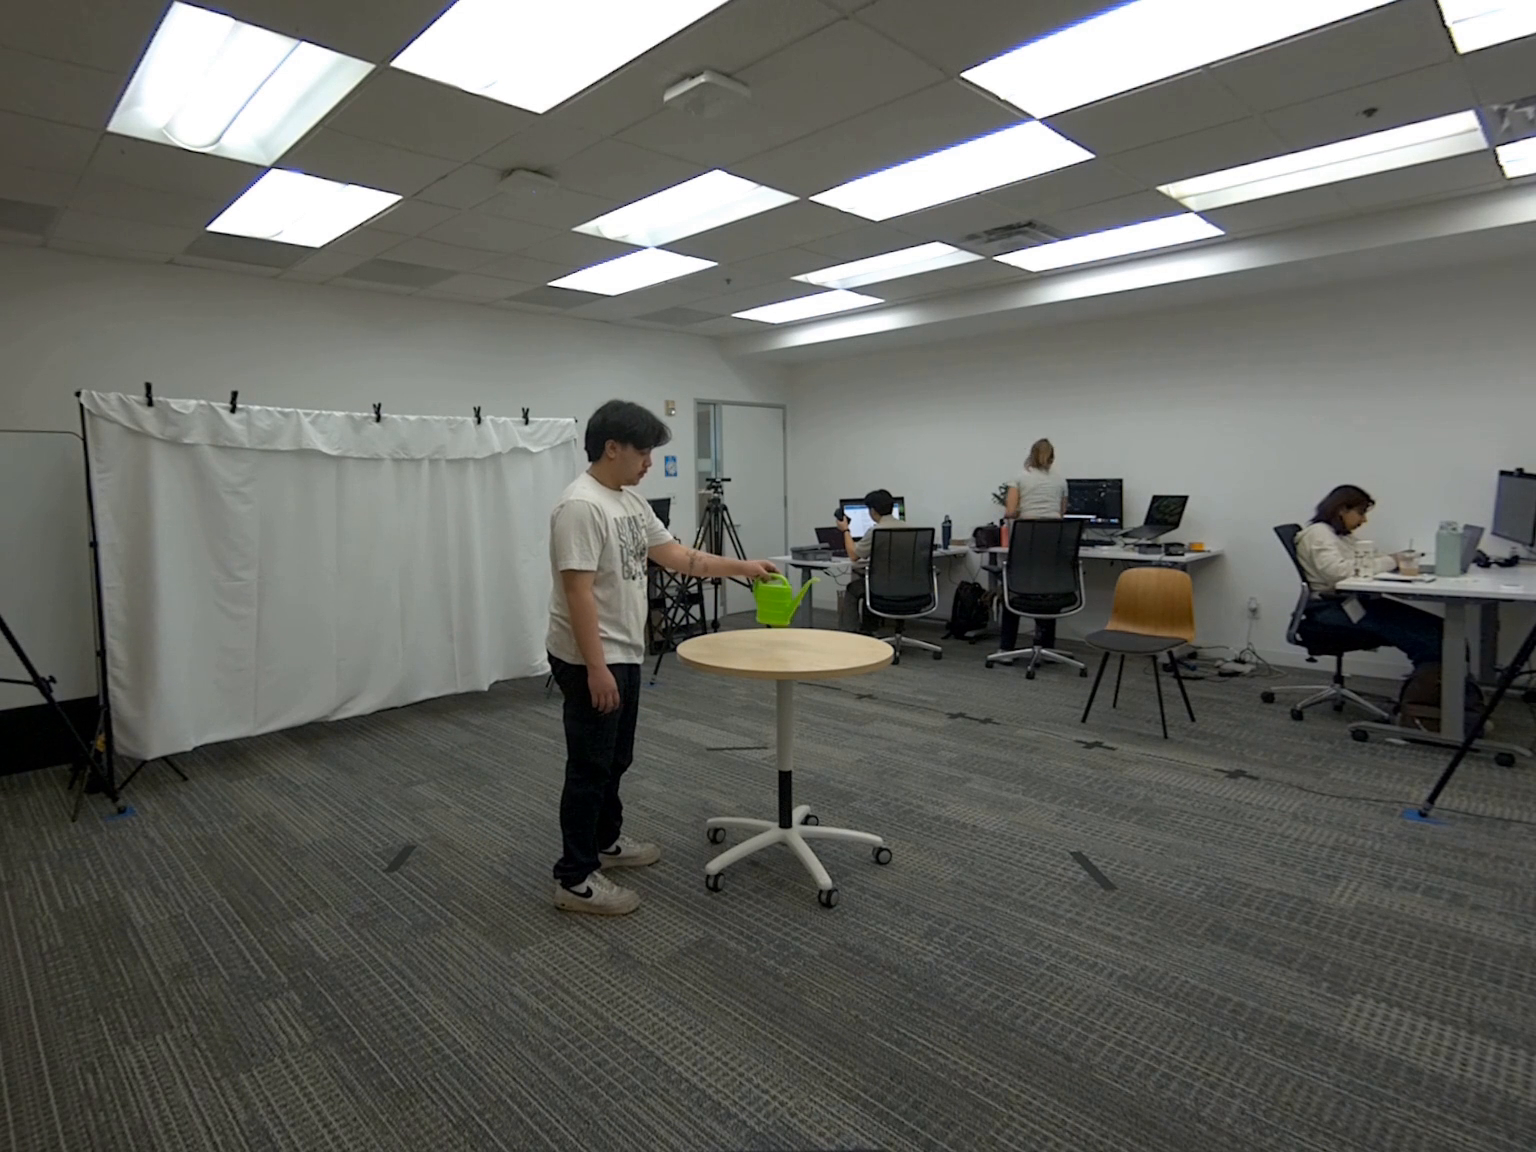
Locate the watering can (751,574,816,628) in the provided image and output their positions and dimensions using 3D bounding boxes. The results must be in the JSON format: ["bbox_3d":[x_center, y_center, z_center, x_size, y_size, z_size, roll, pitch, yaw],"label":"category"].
[{"bbox_3d":[0.046,0.082,2.981,0.095,0.177,0.286,3,1,-37],"label":"watering can"}]
